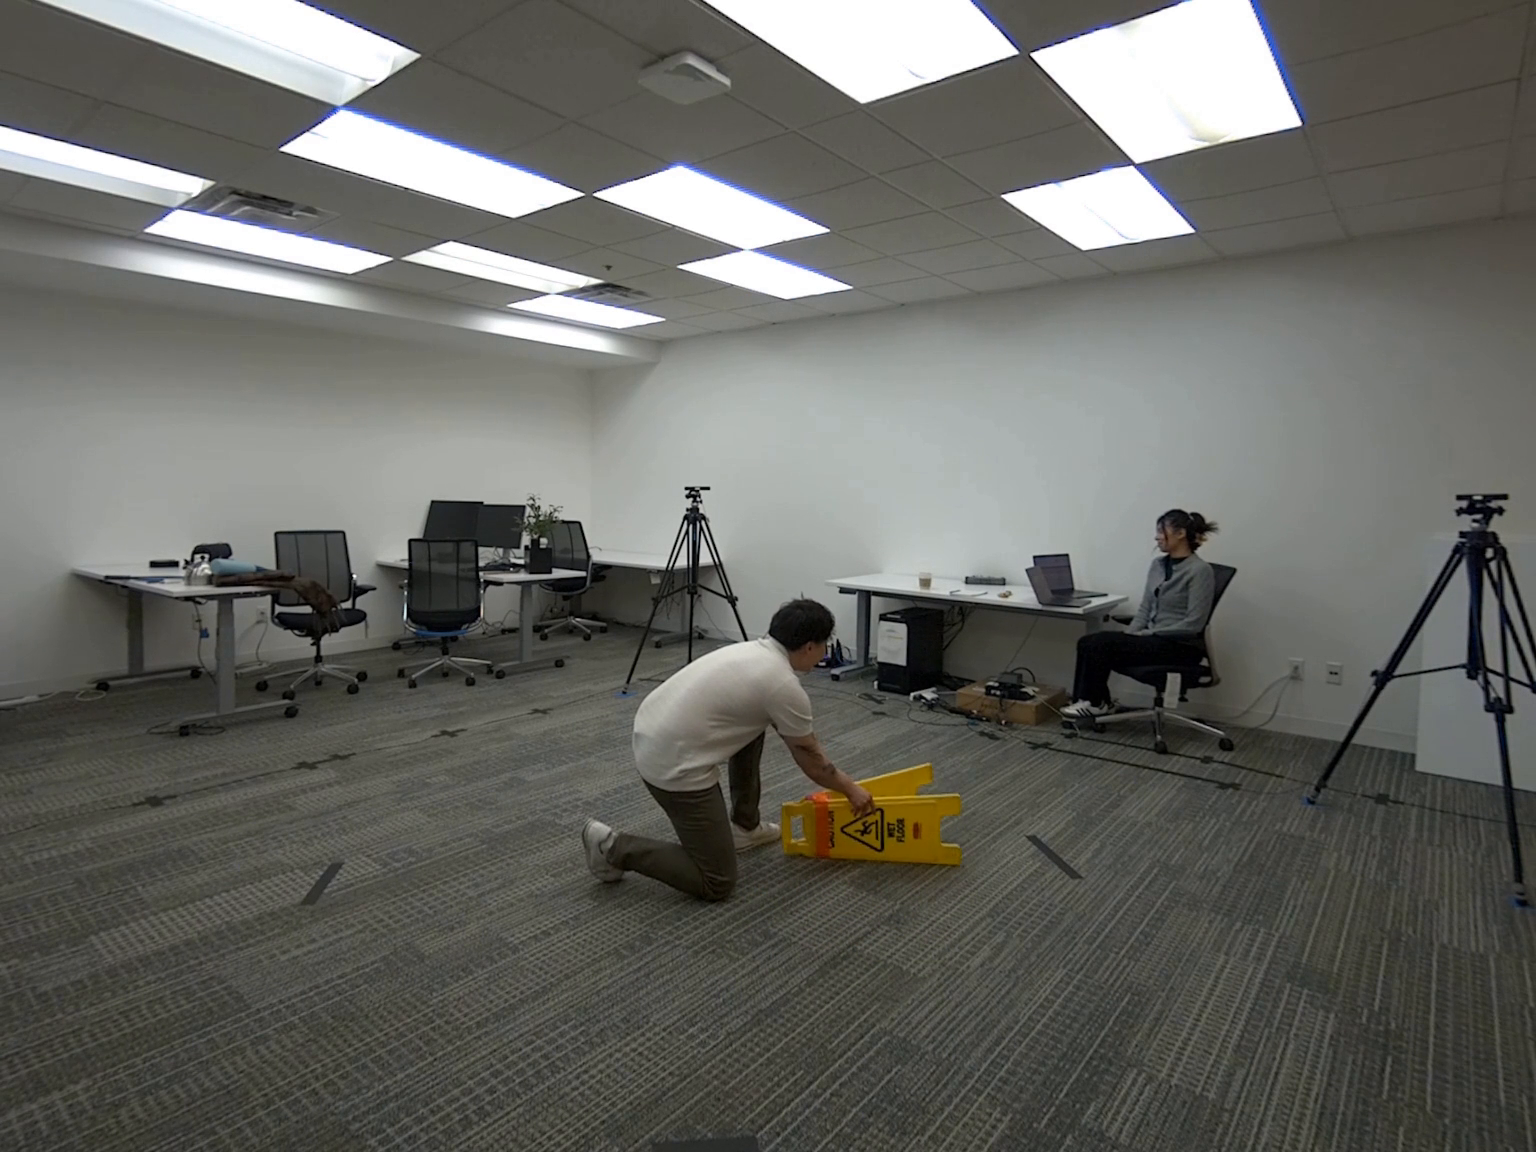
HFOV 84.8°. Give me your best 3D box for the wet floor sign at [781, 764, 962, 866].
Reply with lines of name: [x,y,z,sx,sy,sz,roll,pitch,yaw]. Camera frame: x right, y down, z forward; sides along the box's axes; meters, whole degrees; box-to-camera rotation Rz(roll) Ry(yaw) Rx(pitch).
wet floor sign: [0.363,0.931,3.243,0.641,0.280,0.294,-4,9,-8]
